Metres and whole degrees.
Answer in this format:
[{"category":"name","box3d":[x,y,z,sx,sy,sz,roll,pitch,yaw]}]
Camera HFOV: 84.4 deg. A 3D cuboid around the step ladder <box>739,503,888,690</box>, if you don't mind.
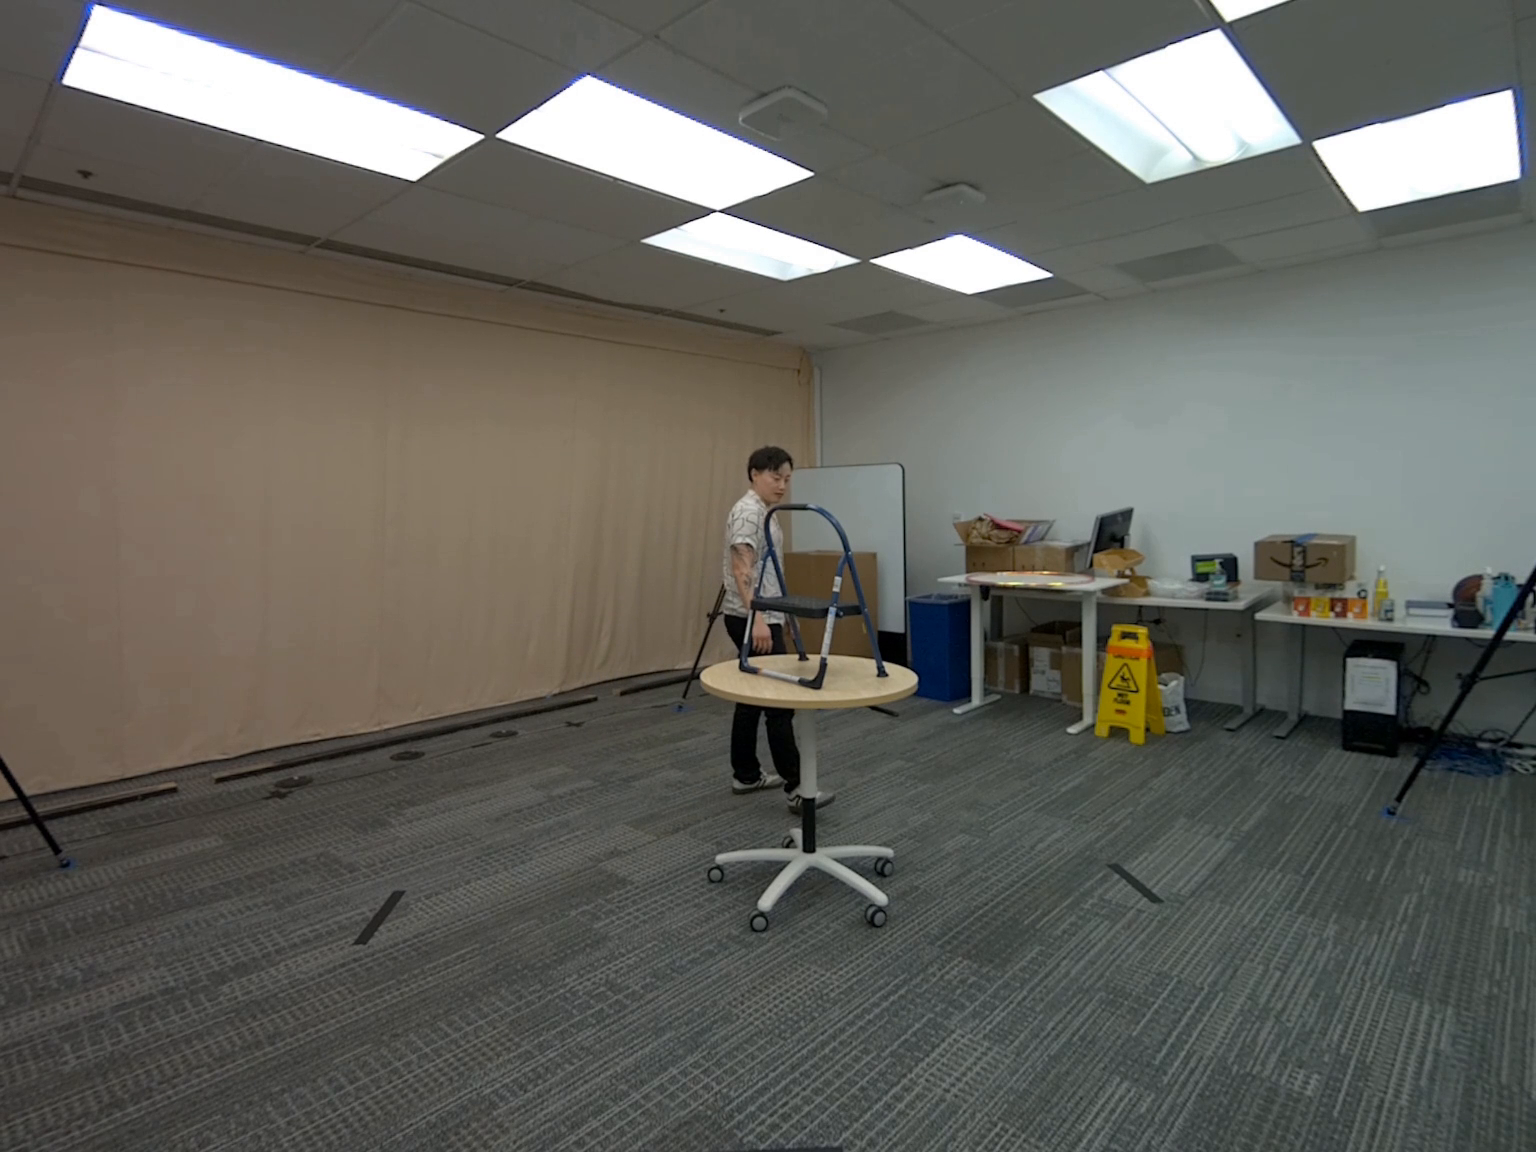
[{"category":"step ladder","box3d":[0.157,0.049,3.000,0.338,0.605,0.445,-2,4,-40]}]
